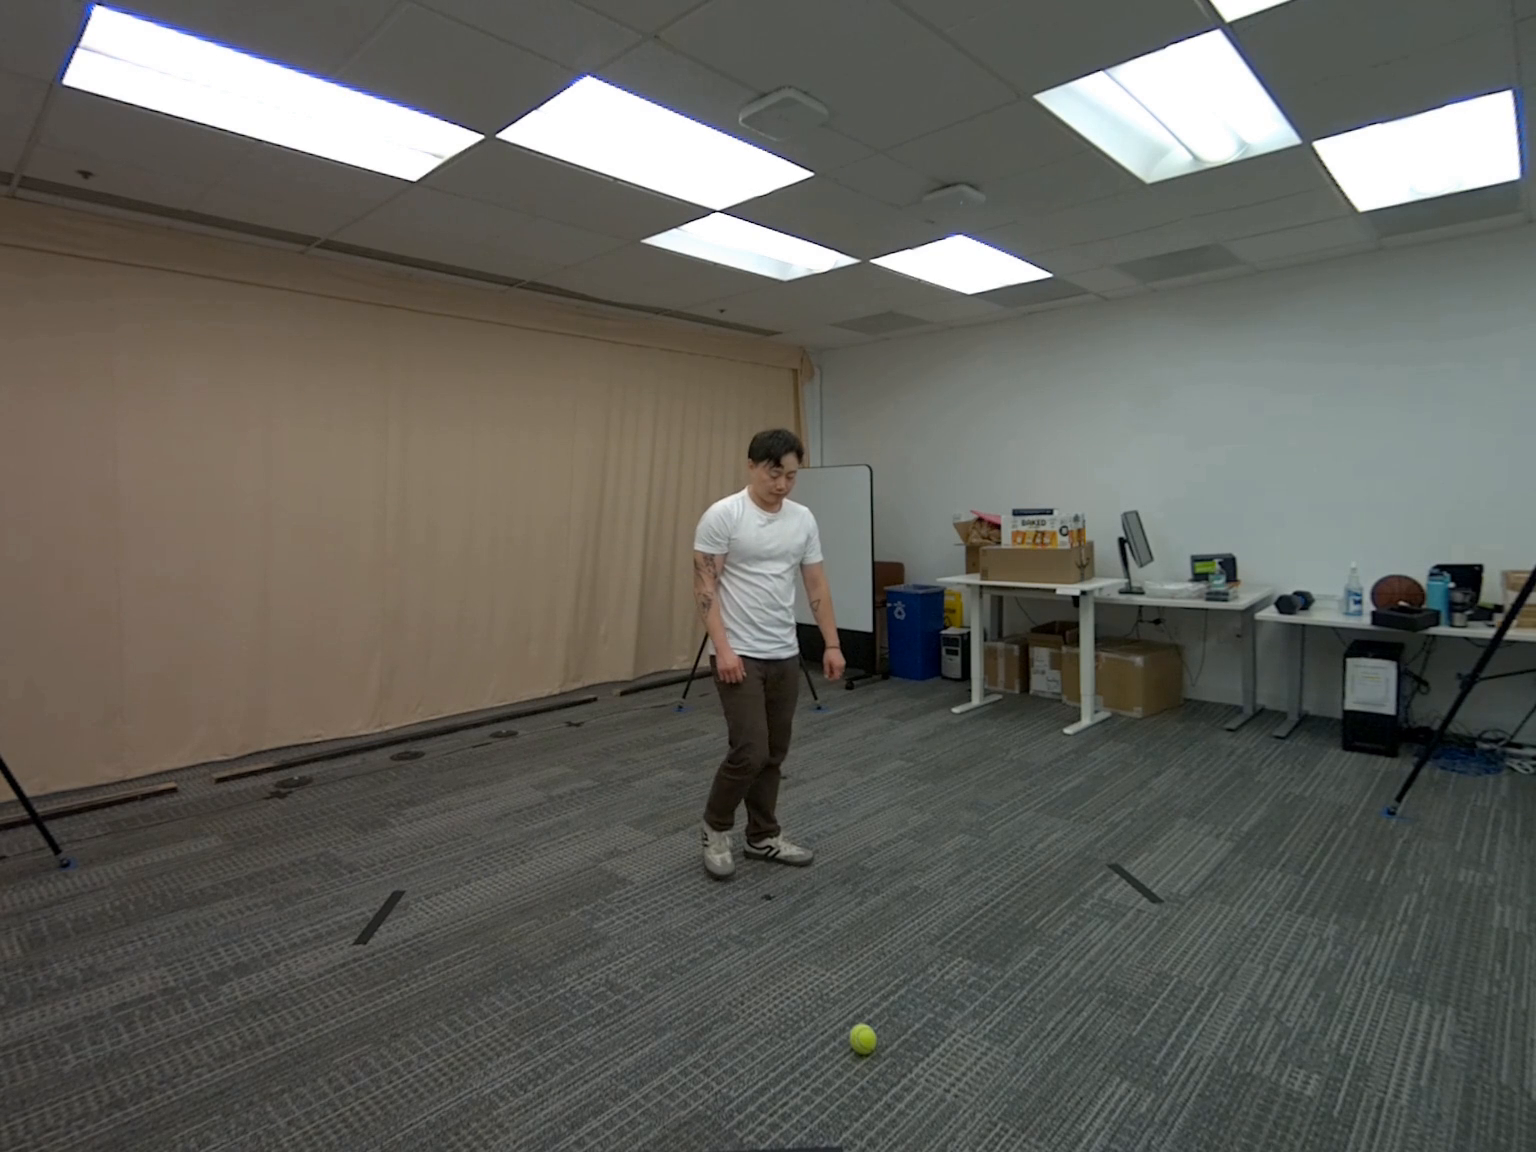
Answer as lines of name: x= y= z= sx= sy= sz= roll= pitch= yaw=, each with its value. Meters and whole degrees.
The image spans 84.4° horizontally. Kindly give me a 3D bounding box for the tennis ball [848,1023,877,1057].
tennis ball: x=0.249 y=1.167 z=2.127 sx=0.066 sy=0.066 sz=0.067 roll=-1 pitch=4 yaw=-2
